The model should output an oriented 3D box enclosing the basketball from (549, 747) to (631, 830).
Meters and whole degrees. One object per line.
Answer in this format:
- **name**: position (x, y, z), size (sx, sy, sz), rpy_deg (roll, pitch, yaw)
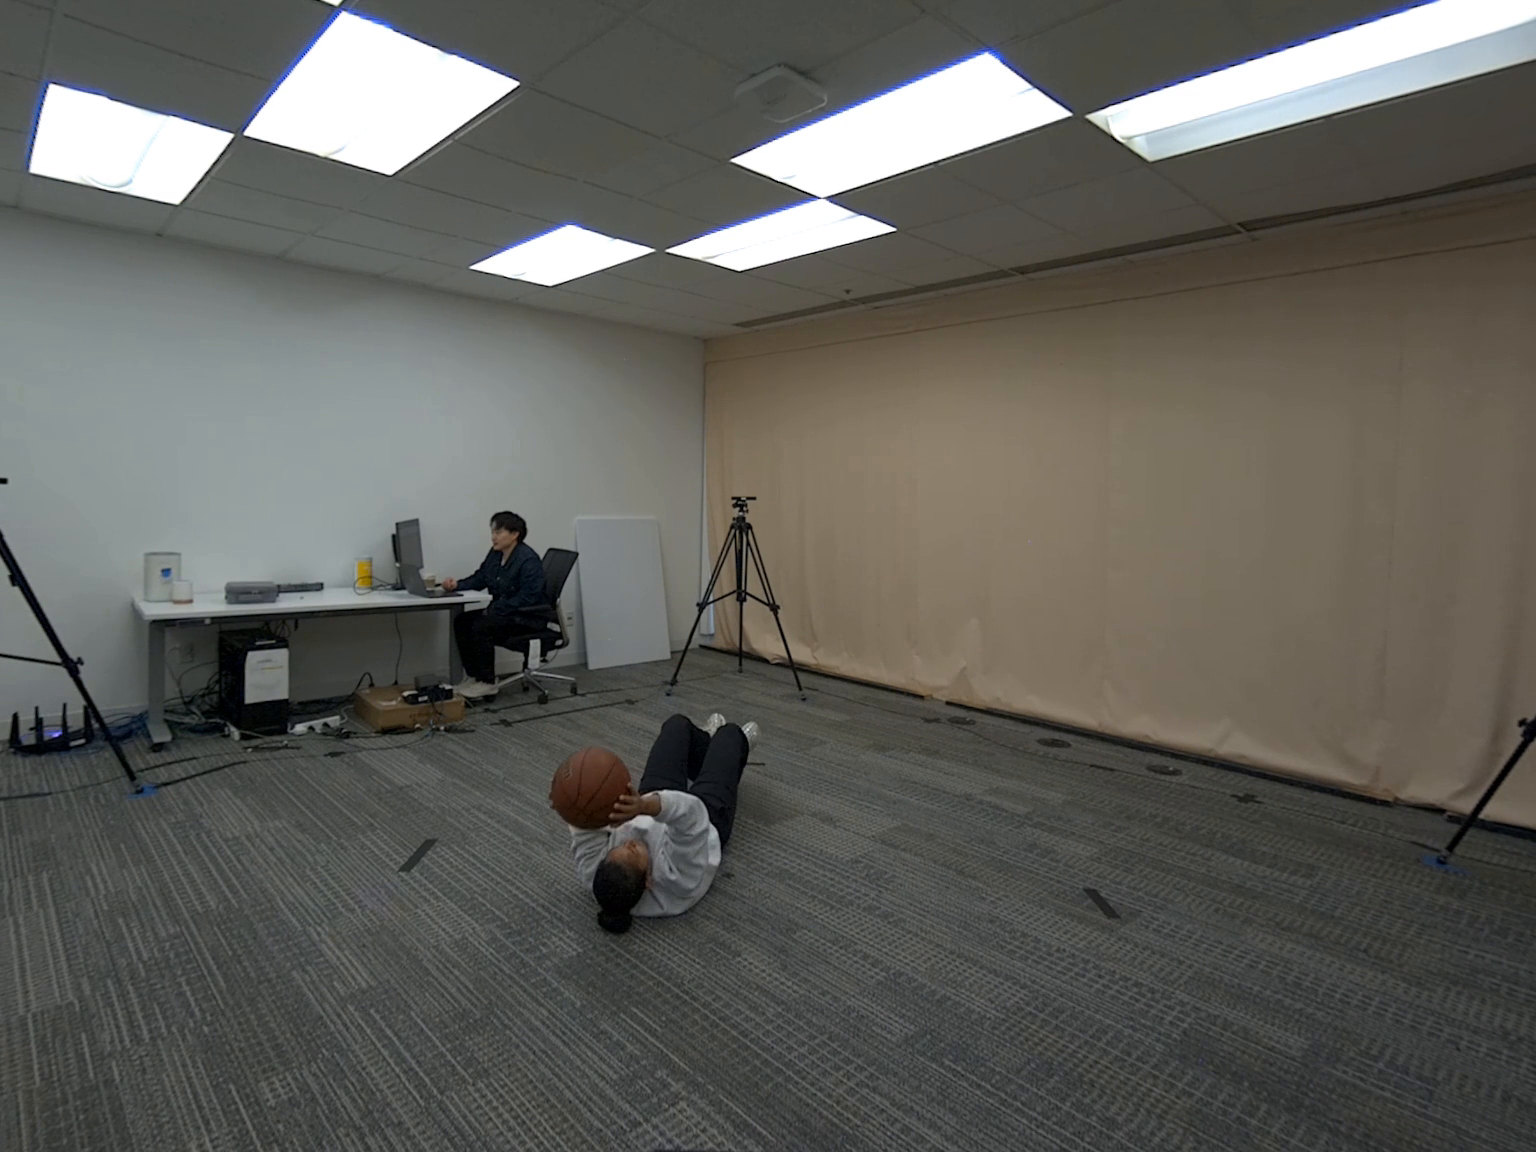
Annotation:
- **basketball**: position (-0.532, 0.643, 2.540), size (0.236, 0.235, 0.237), rpy_deg (1, 5, -1)
